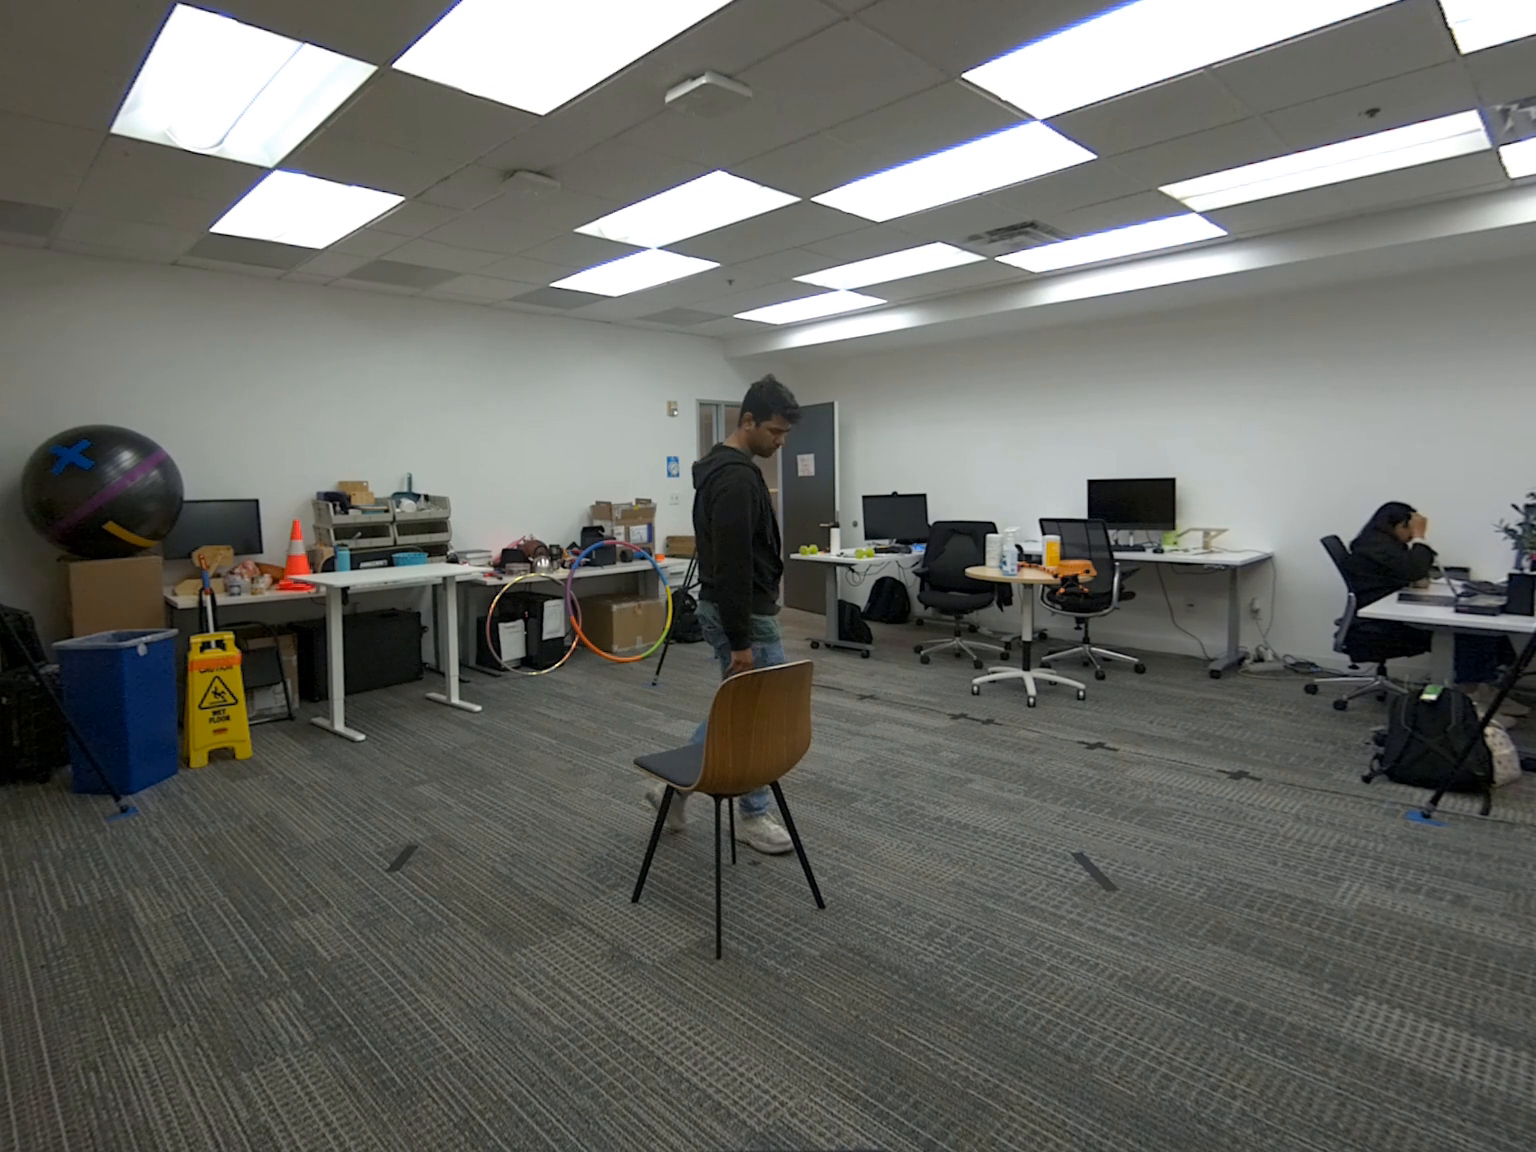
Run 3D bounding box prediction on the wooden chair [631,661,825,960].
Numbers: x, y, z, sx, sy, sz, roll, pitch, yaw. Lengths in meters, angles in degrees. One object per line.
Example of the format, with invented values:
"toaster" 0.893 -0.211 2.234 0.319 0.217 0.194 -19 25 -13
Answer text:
"wooden chair" -0.139 0.659 2.776 0.465 0.871 0.541 -5 10 -41
